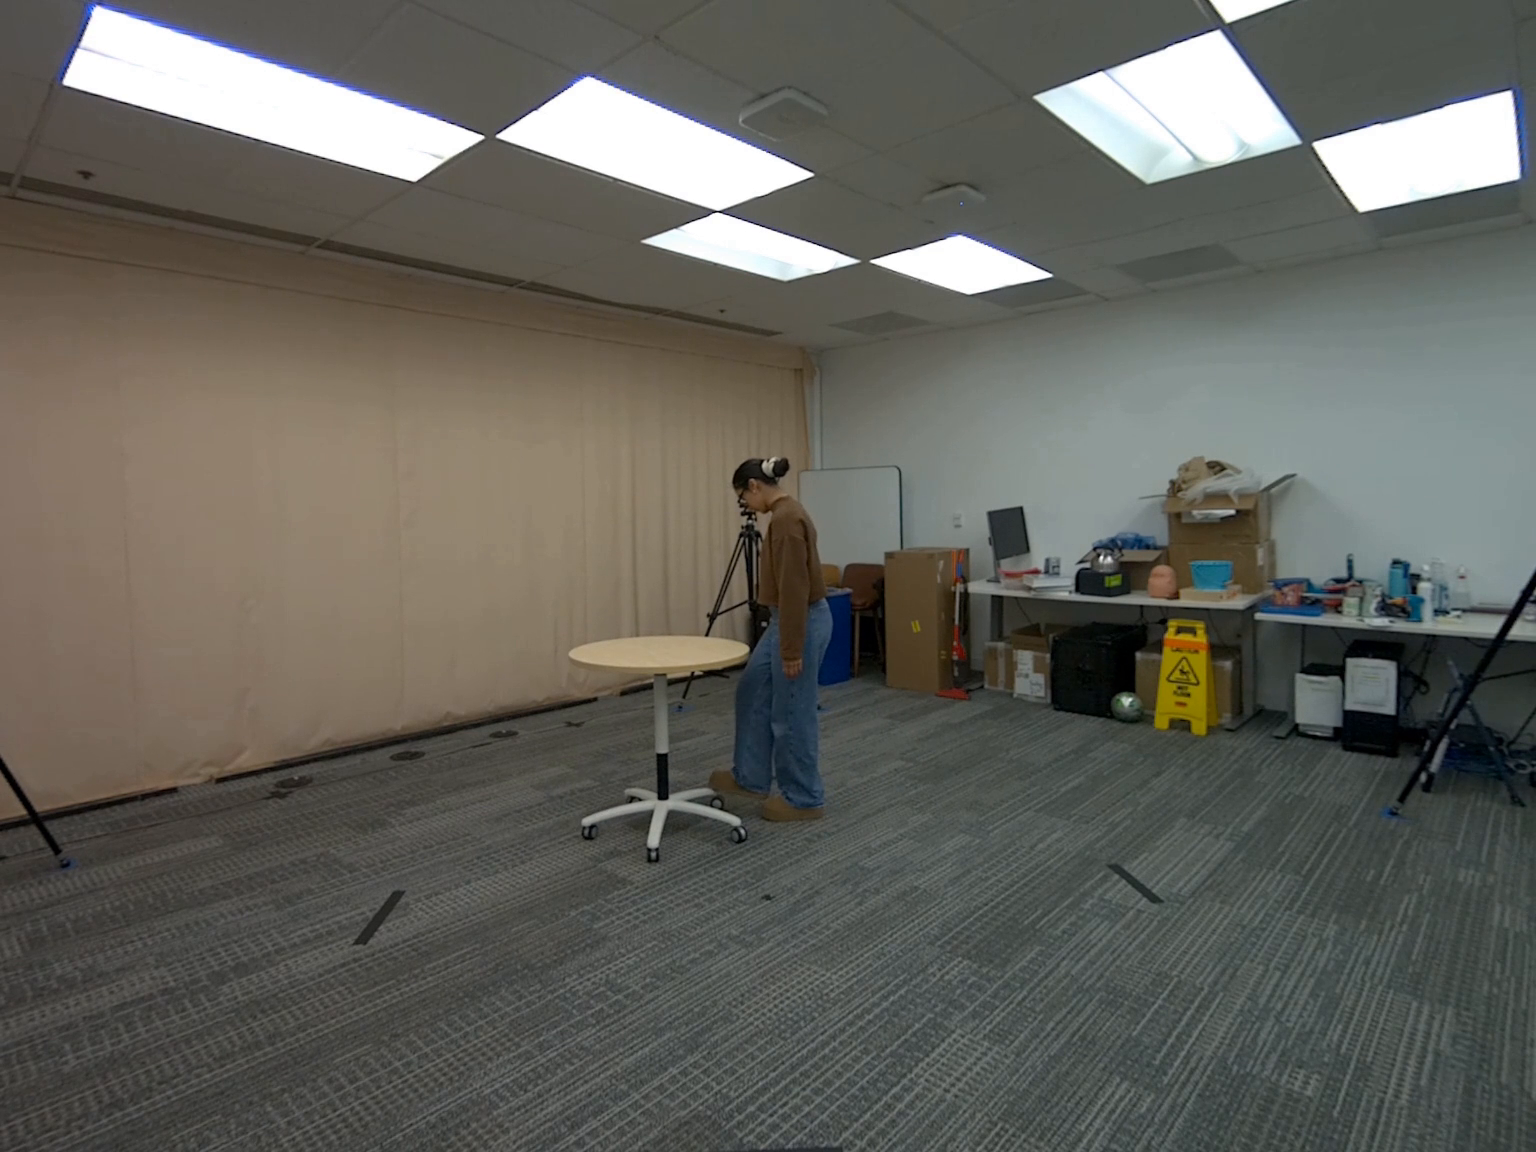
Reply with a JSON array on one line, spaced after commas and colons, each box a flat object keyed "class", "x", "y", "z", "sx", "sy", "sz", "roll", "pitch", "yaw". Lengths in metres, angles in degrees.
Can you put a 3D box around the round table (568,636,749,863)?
[{"class": "round table", "x": -0.452, "y": 0.706, "z": 3.600, "sx": 0.763, "sy": 0.792, "sz": 0.766, "roll": -1, "pitch": 4, "yaw": -2}]
